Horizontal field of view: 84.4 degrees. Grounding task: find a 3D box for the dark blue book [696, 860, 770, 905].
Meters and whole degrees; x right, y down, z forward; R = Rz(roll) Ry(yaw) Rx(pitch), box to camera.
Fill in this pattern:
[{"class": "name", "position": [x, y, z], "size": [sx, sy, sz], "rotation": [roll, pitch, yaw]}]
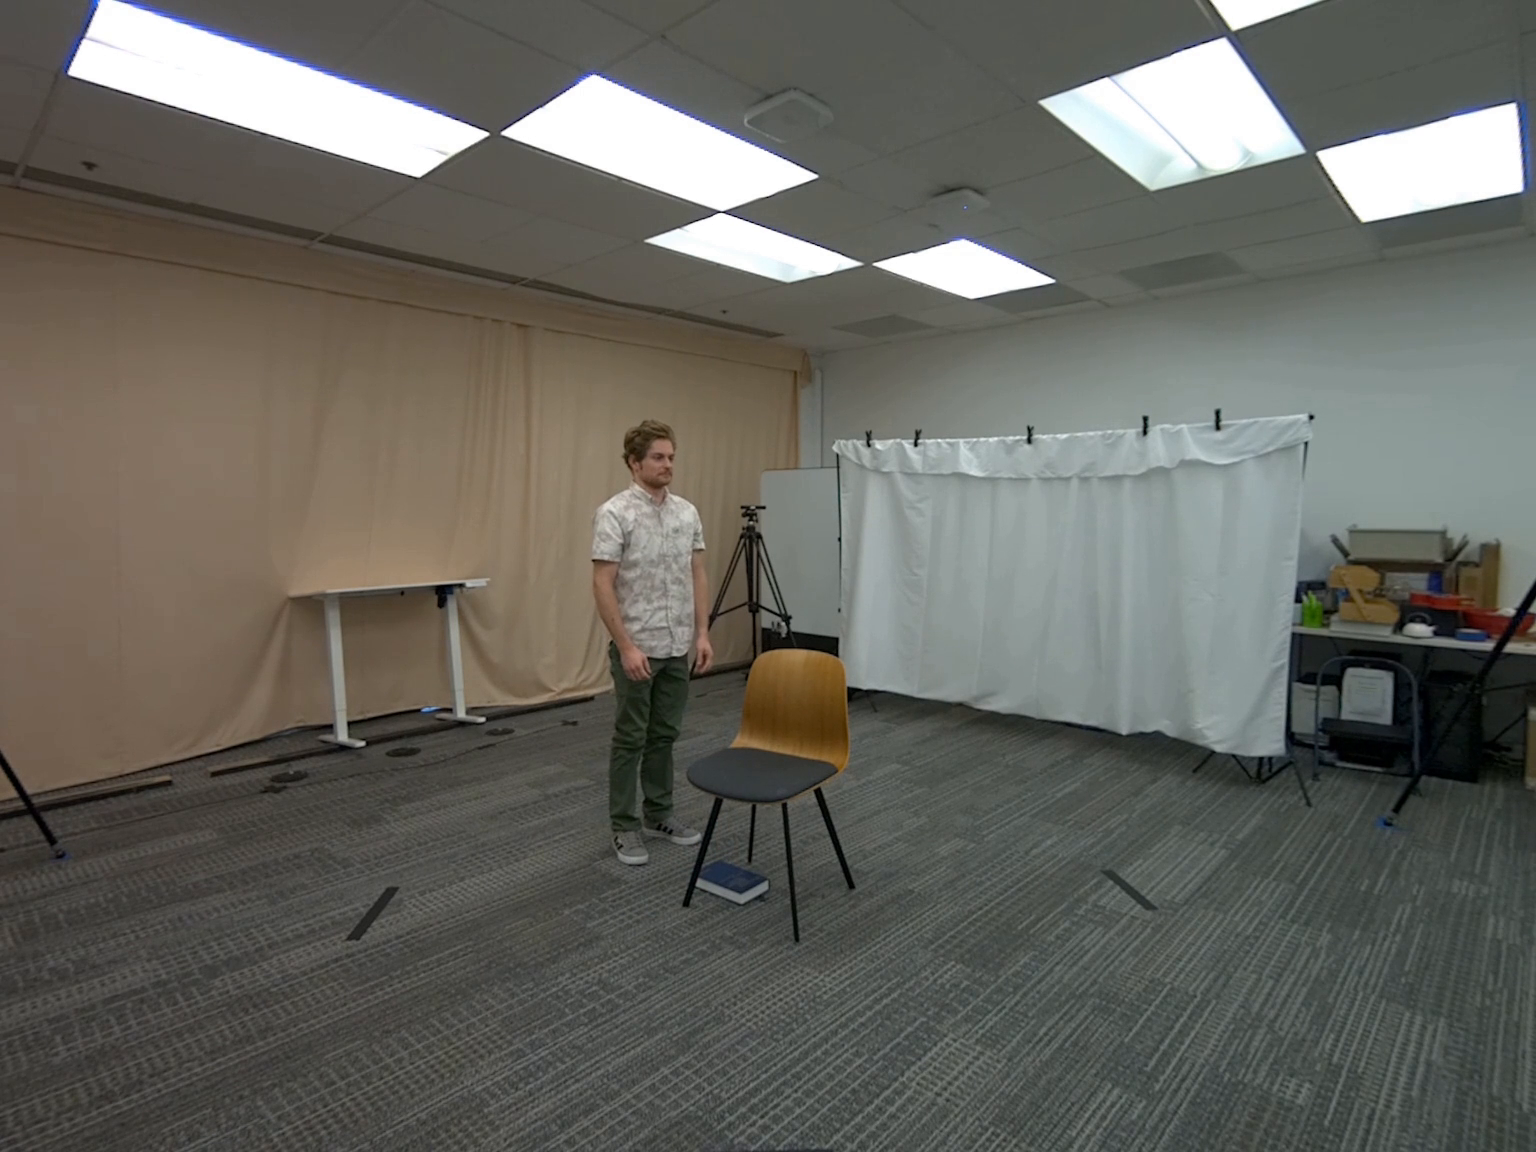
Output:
[{"class": "dark blue book", "position": [-0.134, 1.111, 3.069], "size": [0.253, 0.045, 0.158], "rotation": [3, 6, 40]}]
